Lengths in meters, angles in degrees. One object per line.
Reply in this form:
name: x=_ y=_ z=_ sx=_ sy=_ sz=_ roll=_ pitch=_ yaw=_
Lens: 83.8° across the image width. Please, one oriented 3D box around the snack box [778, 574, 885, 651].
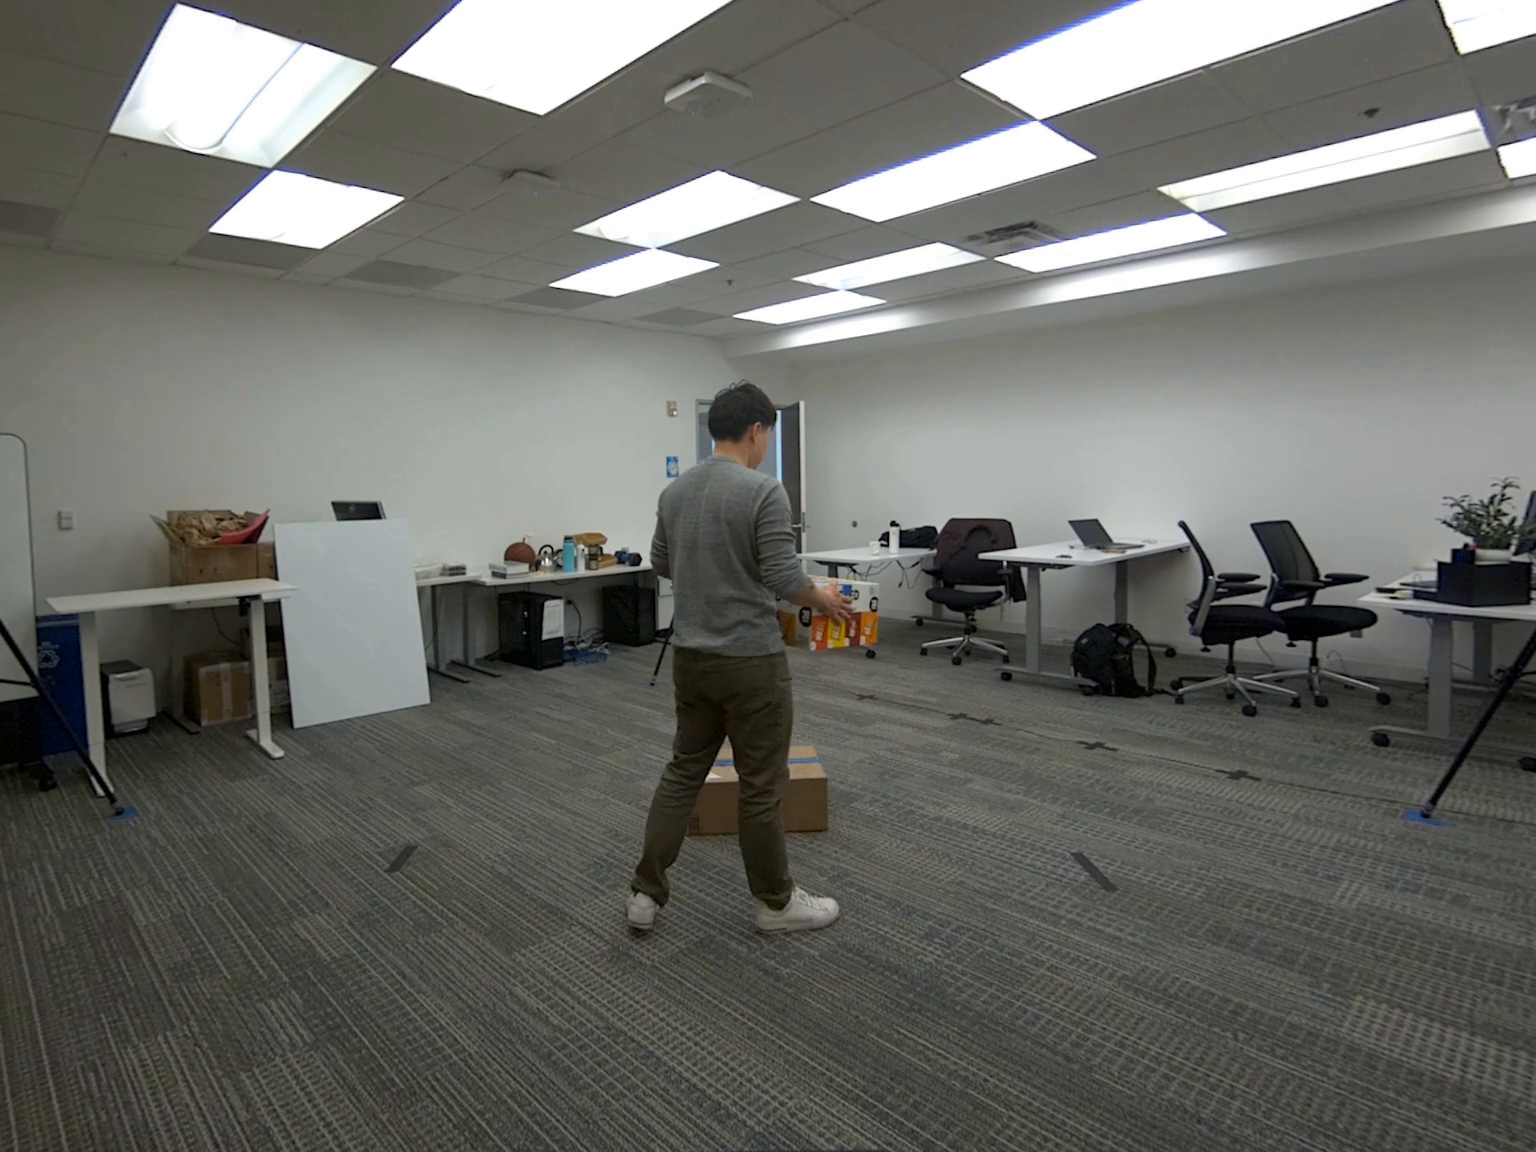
snack box: x=0.124 y=0.109 z=2.912 sx=0.418 sy=0.205 sz=0.330 roll=5 pitch=4 yaw=43
